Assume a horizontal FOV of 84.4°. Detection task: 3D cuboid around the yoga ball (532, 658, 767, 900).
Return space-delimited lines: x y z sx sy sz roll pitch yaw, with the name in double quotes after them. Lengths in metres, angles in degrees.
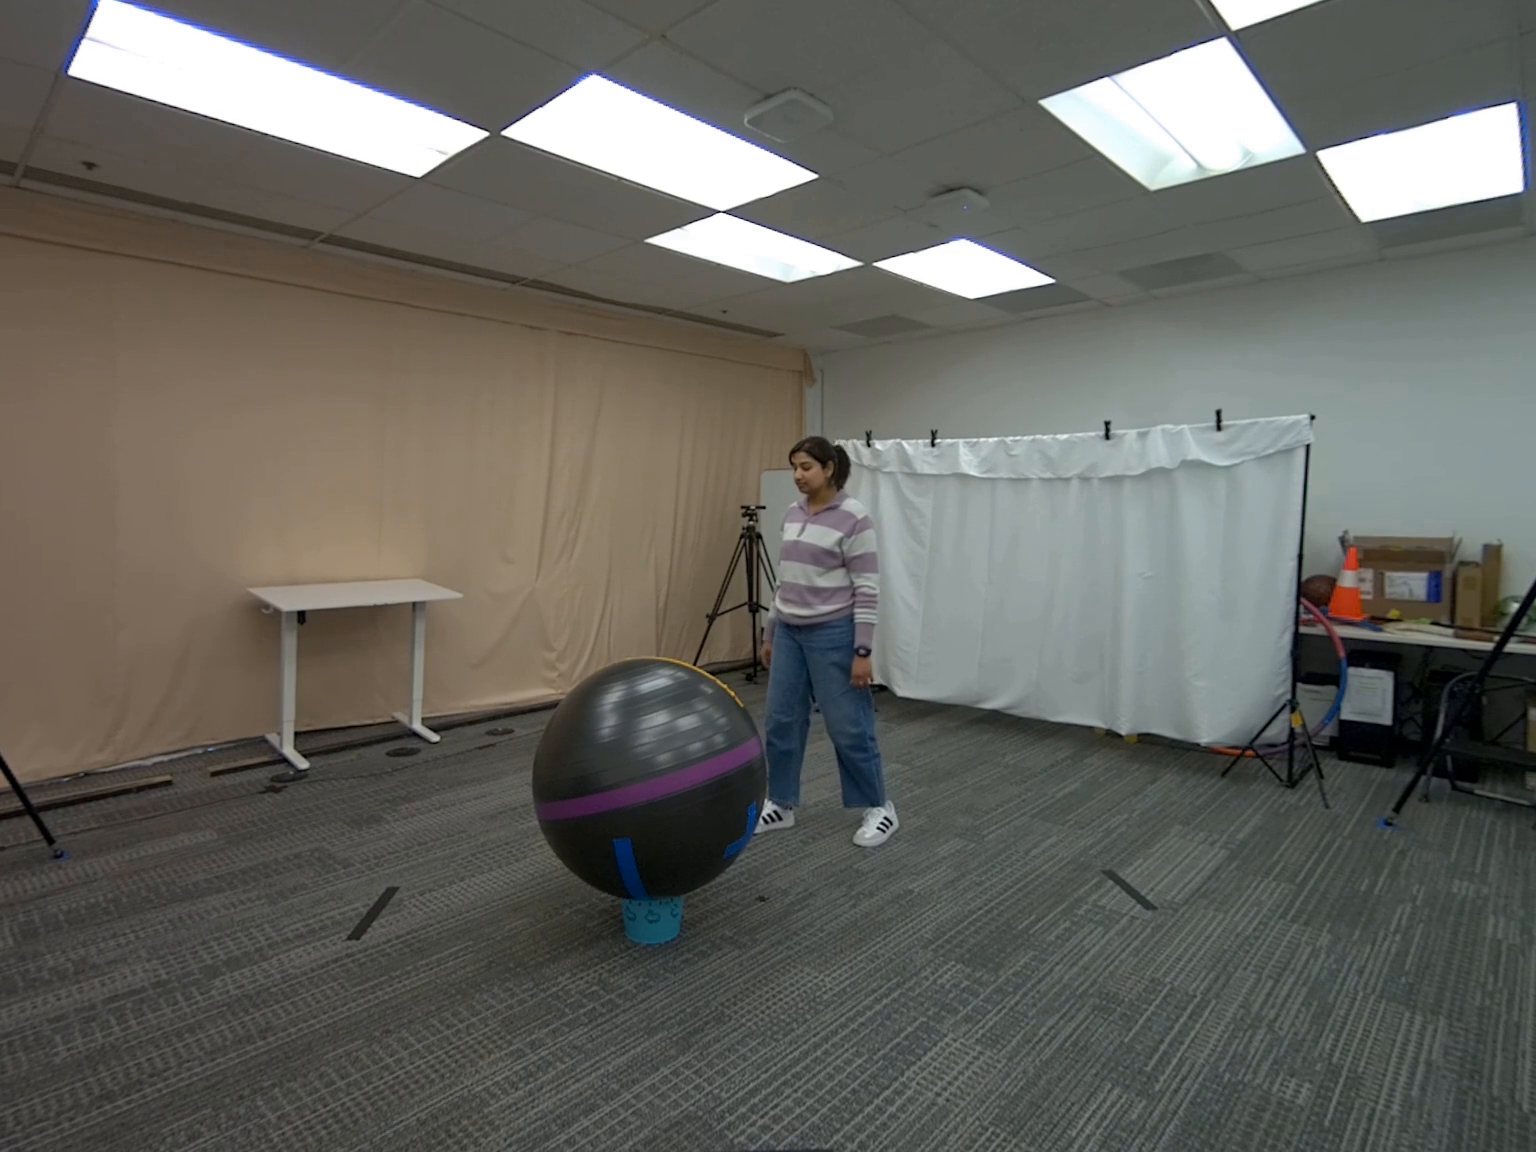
-0.396 0.657 2.747 0.757 0.756 0.761 0 4 -2 "yoga ball"
